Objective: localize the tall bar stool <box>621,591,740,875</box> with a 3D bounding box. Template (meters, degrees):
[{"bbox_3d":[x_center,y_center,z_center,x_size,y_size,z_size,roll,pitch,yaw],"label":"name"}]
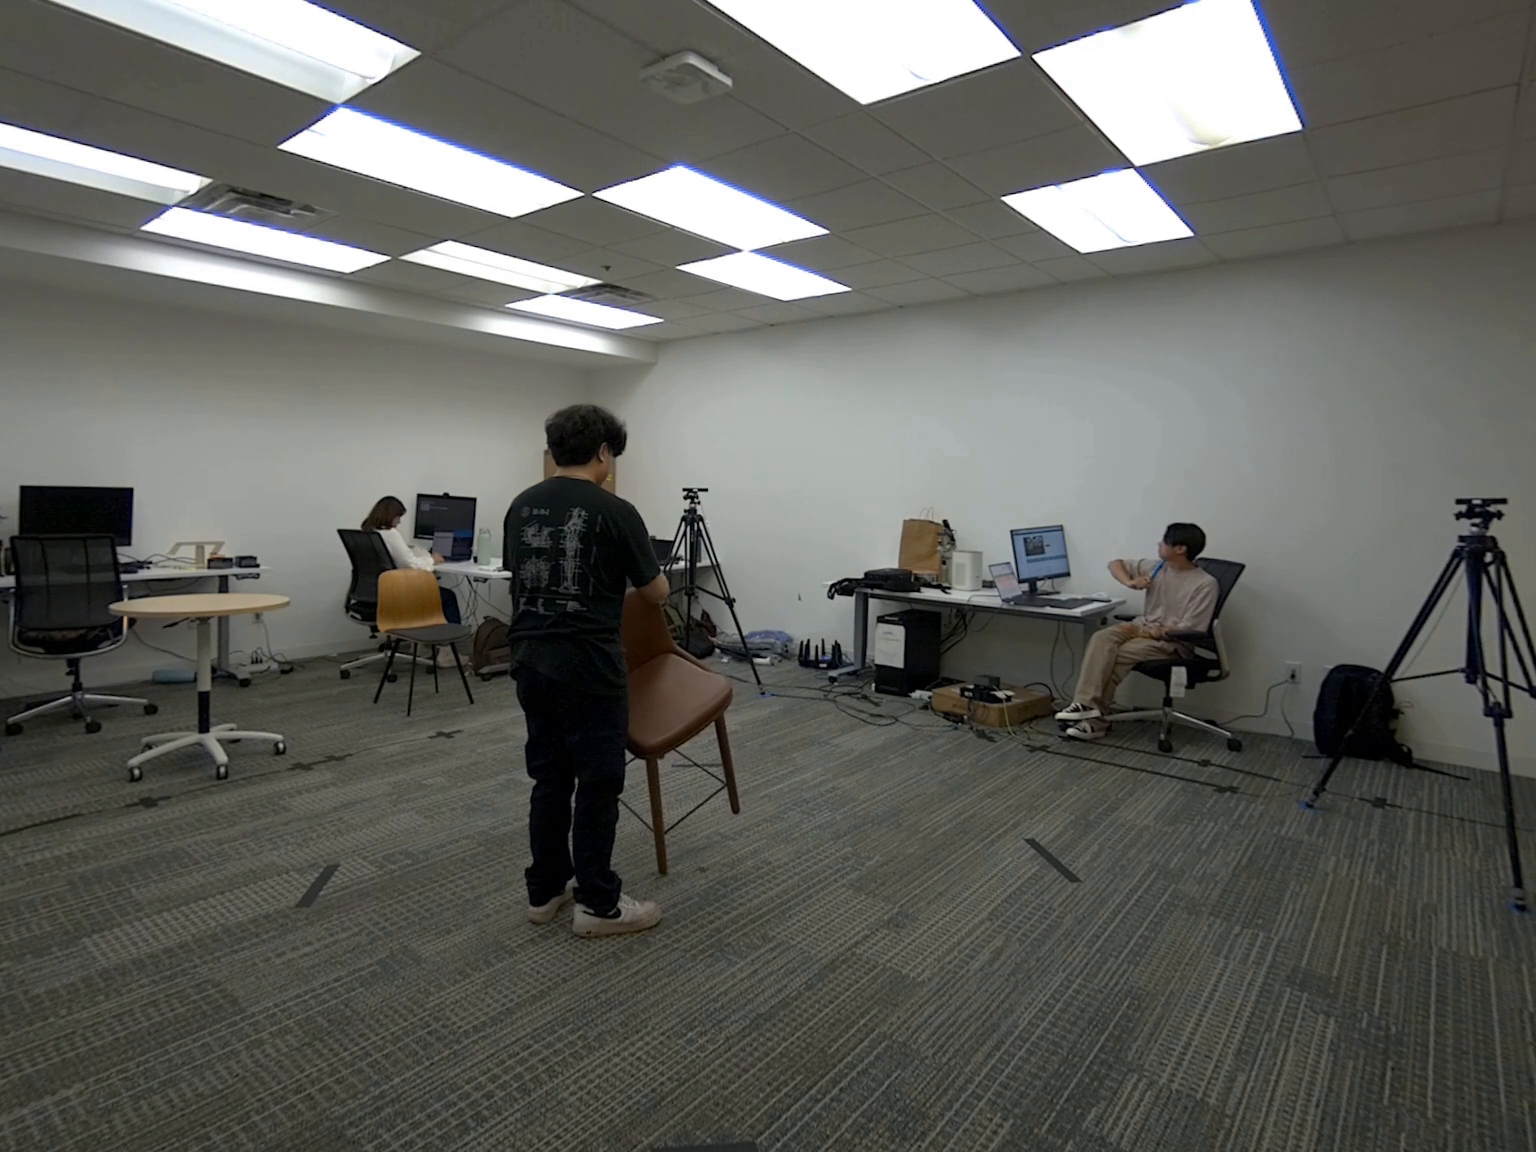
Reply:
[{"bbox_3d":[-0.415,0.542,3.106,0.486,0.867,0.450,25,39,37],"label":"tall bar stool"}]
